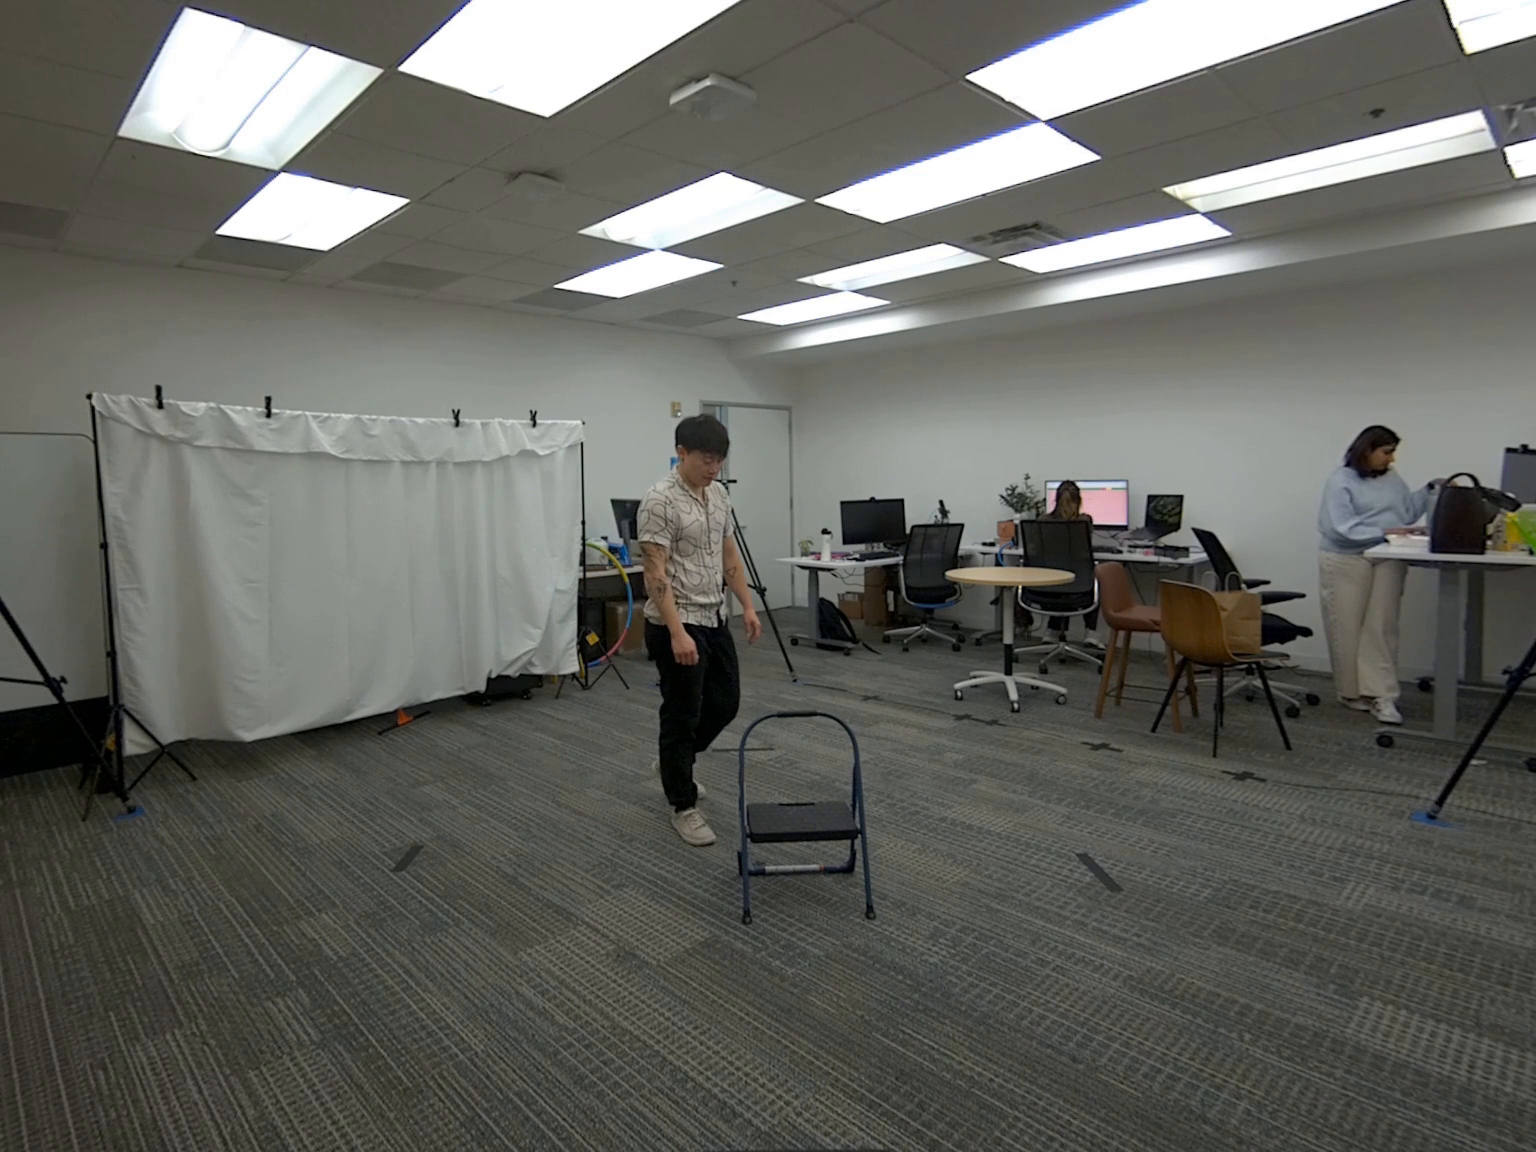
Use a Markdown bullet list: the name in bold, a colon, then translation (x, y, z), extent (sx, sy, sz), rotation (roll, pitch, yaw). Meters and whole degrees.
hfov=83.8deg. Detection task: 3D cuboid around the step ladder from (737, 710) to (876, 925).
- **step ladder**: translation (0.114, 0.772, 2.857), extent (0.429, 0.604, 0.352), rotation (-1, 4, -4)
